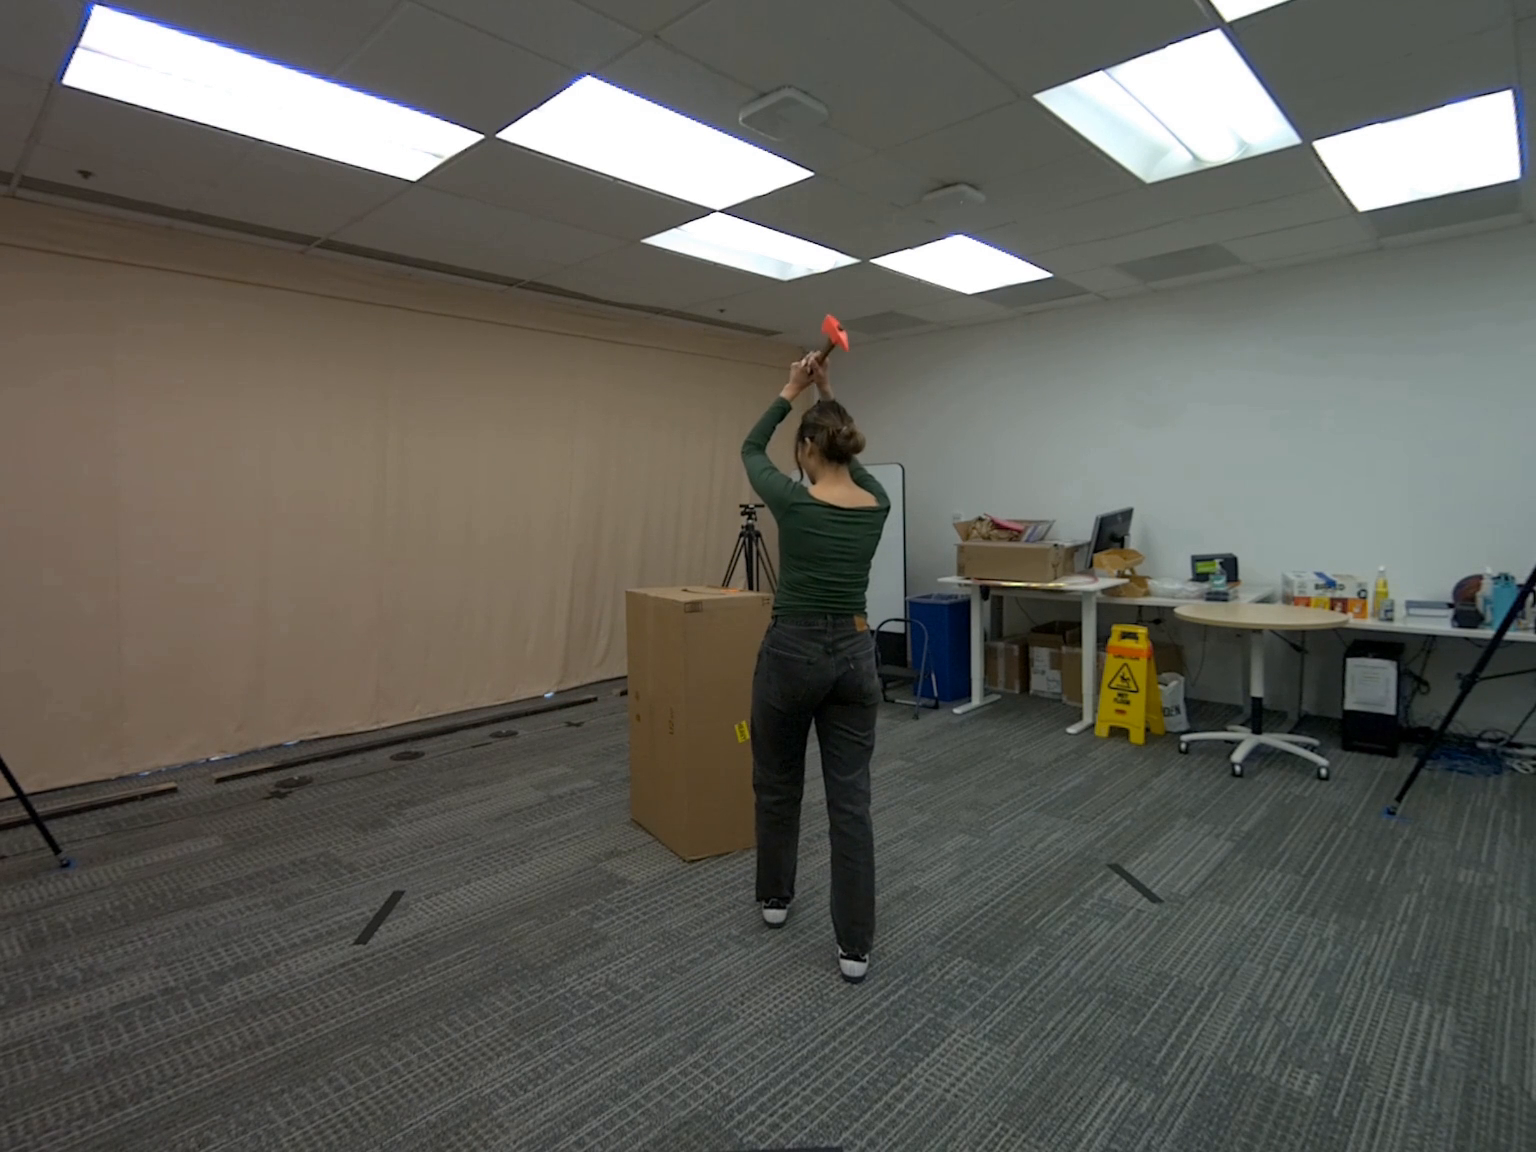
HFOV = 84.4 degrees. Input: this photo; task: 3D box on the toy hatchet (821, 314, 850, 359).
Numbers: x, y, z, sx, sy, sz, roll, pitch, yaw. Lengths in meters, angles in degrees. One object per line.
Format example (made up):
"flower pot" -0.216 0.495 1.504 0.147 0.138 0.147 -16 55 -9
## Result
"toy hatchet" 0.156 -0.706 2.608 0.029 0.131 0.276 -13 -1 -32
